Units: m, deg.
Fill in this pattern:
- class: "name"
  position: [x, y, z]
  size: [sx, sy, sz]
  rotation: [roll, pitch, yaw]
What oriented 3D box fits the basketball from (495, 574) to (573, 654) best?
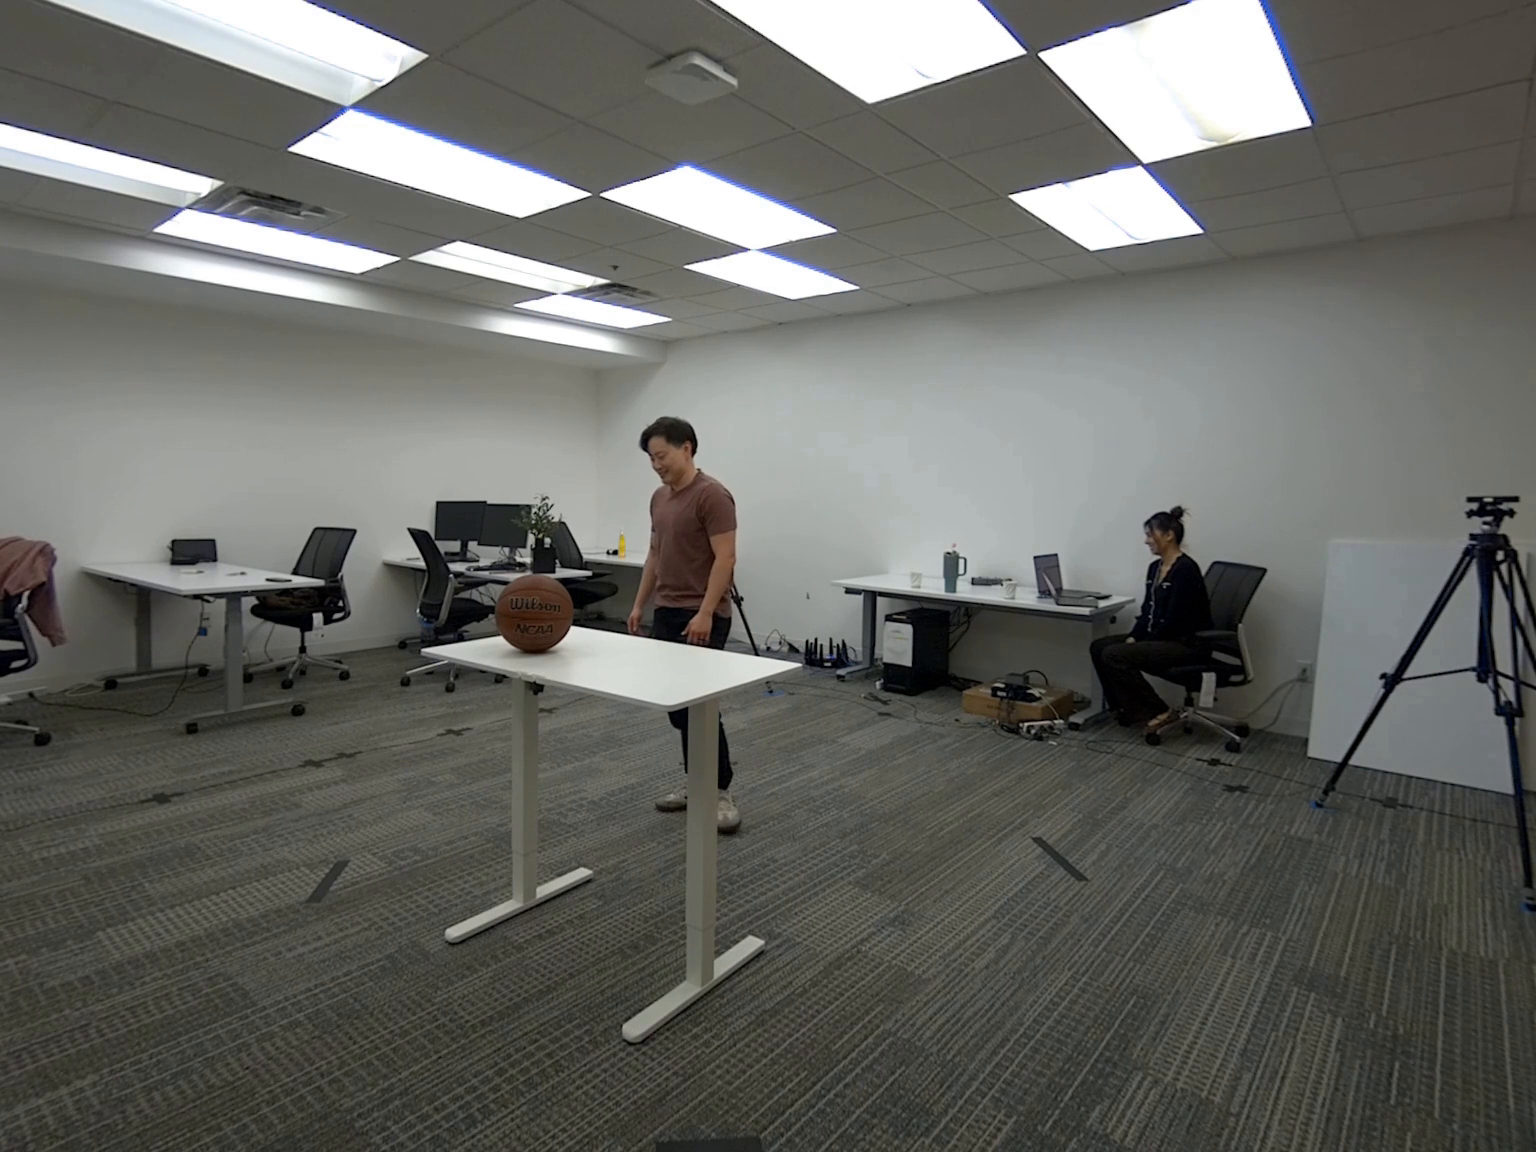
- class: "basketball"
  position: [-0.724, 0.112, 2.595]
  size: [0.235, 0.235, 0.237]
  rotation: [1, 4, -2]
